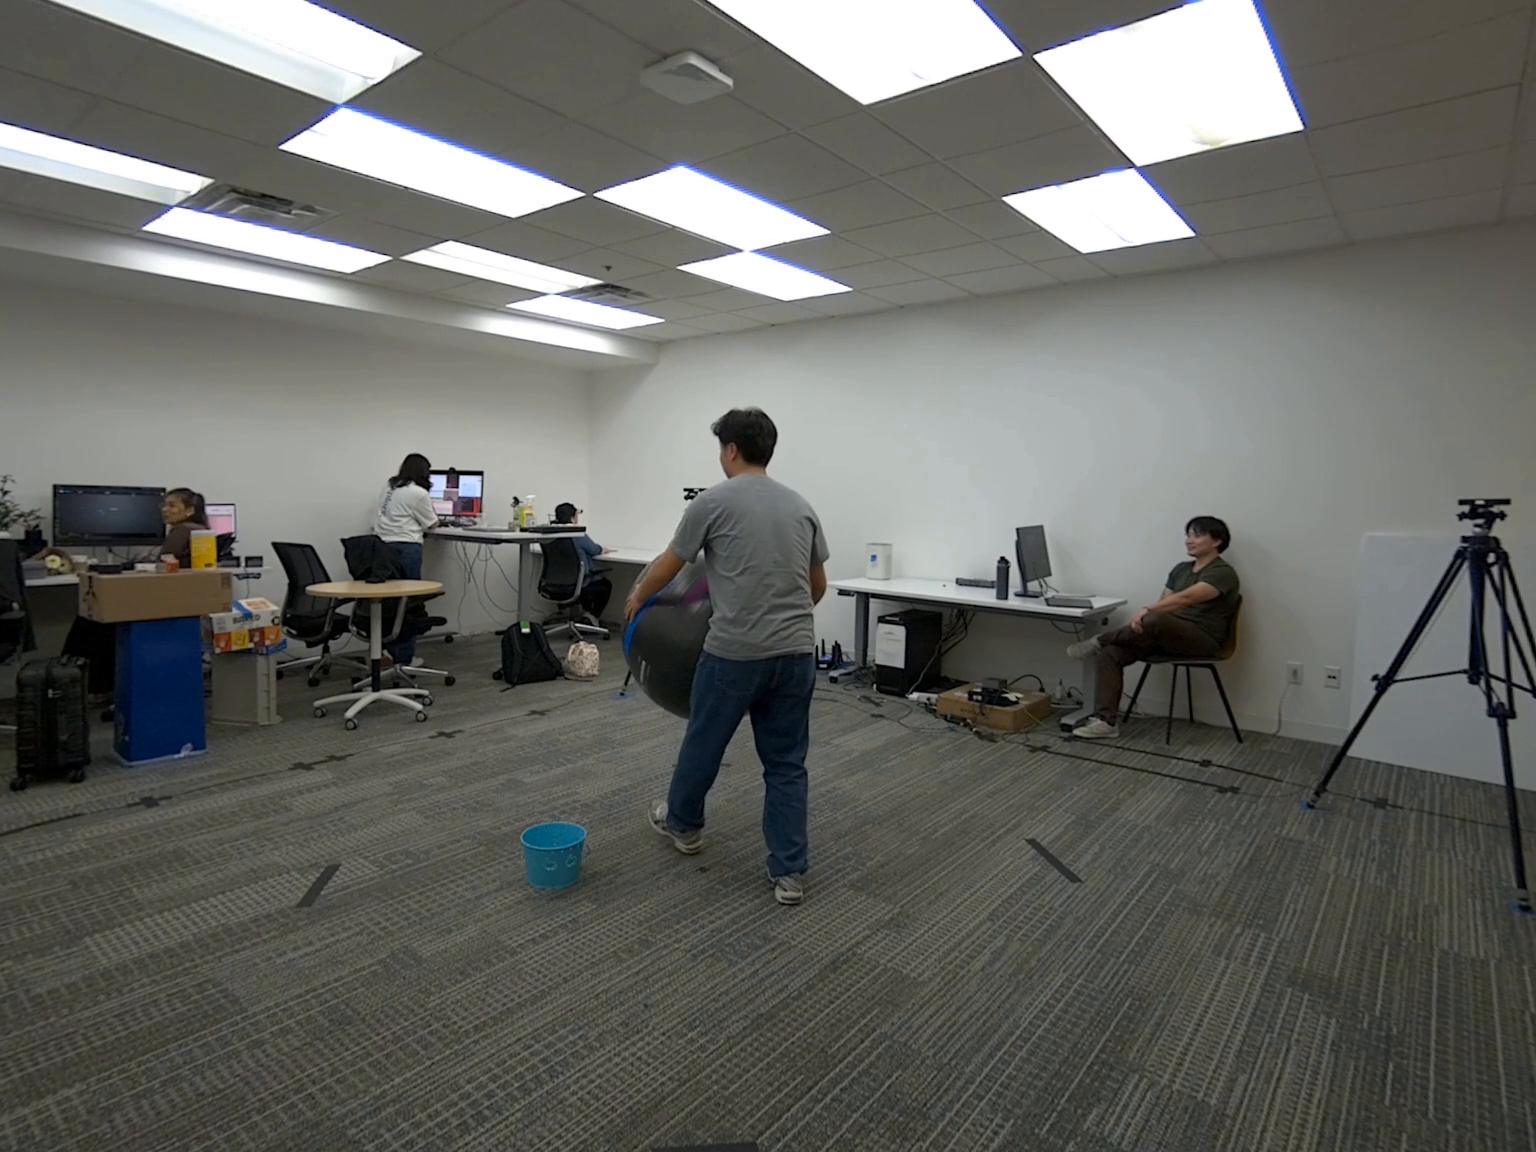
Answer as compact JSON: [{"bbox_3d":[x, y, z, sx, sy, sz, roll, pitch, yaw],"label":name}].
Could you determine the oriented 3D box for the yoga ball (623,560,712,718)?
[{"bbox_3d":[-0.260,0.229,3.530,0.757,0.756,0.761,1,4,-2],"label":"yoga ball"}]
